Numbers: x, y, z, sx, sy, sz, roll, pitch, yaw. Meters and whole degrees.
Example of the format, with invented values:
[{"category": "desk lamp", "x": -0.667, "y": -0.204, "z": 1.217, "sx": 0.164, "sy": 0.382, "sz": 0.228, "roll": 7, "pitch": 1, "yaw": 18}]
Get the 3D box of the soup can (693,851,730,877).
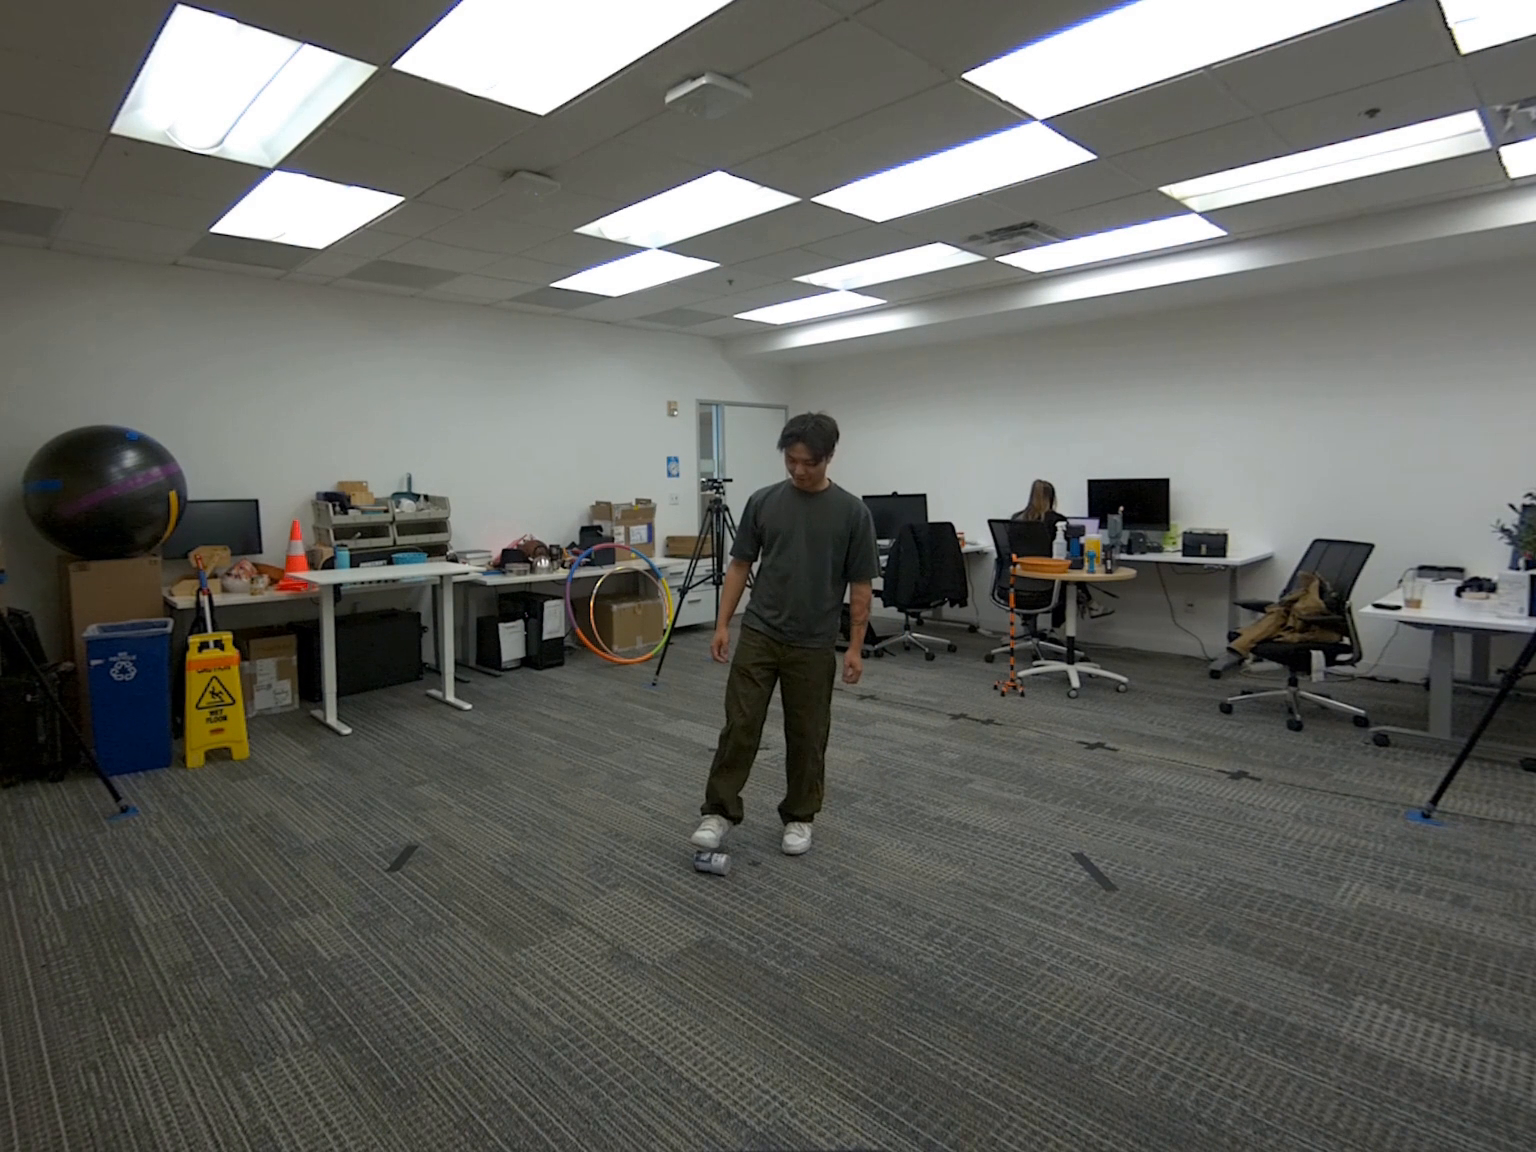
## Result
[{"category": "soup can", "x": -0.205, "y": 1.027, "z": 3.043, "sx": 0.123, "sy": 0.067, "sz": 0.066, "roll": -7, "pitch": 3, "yaw": 20}]
